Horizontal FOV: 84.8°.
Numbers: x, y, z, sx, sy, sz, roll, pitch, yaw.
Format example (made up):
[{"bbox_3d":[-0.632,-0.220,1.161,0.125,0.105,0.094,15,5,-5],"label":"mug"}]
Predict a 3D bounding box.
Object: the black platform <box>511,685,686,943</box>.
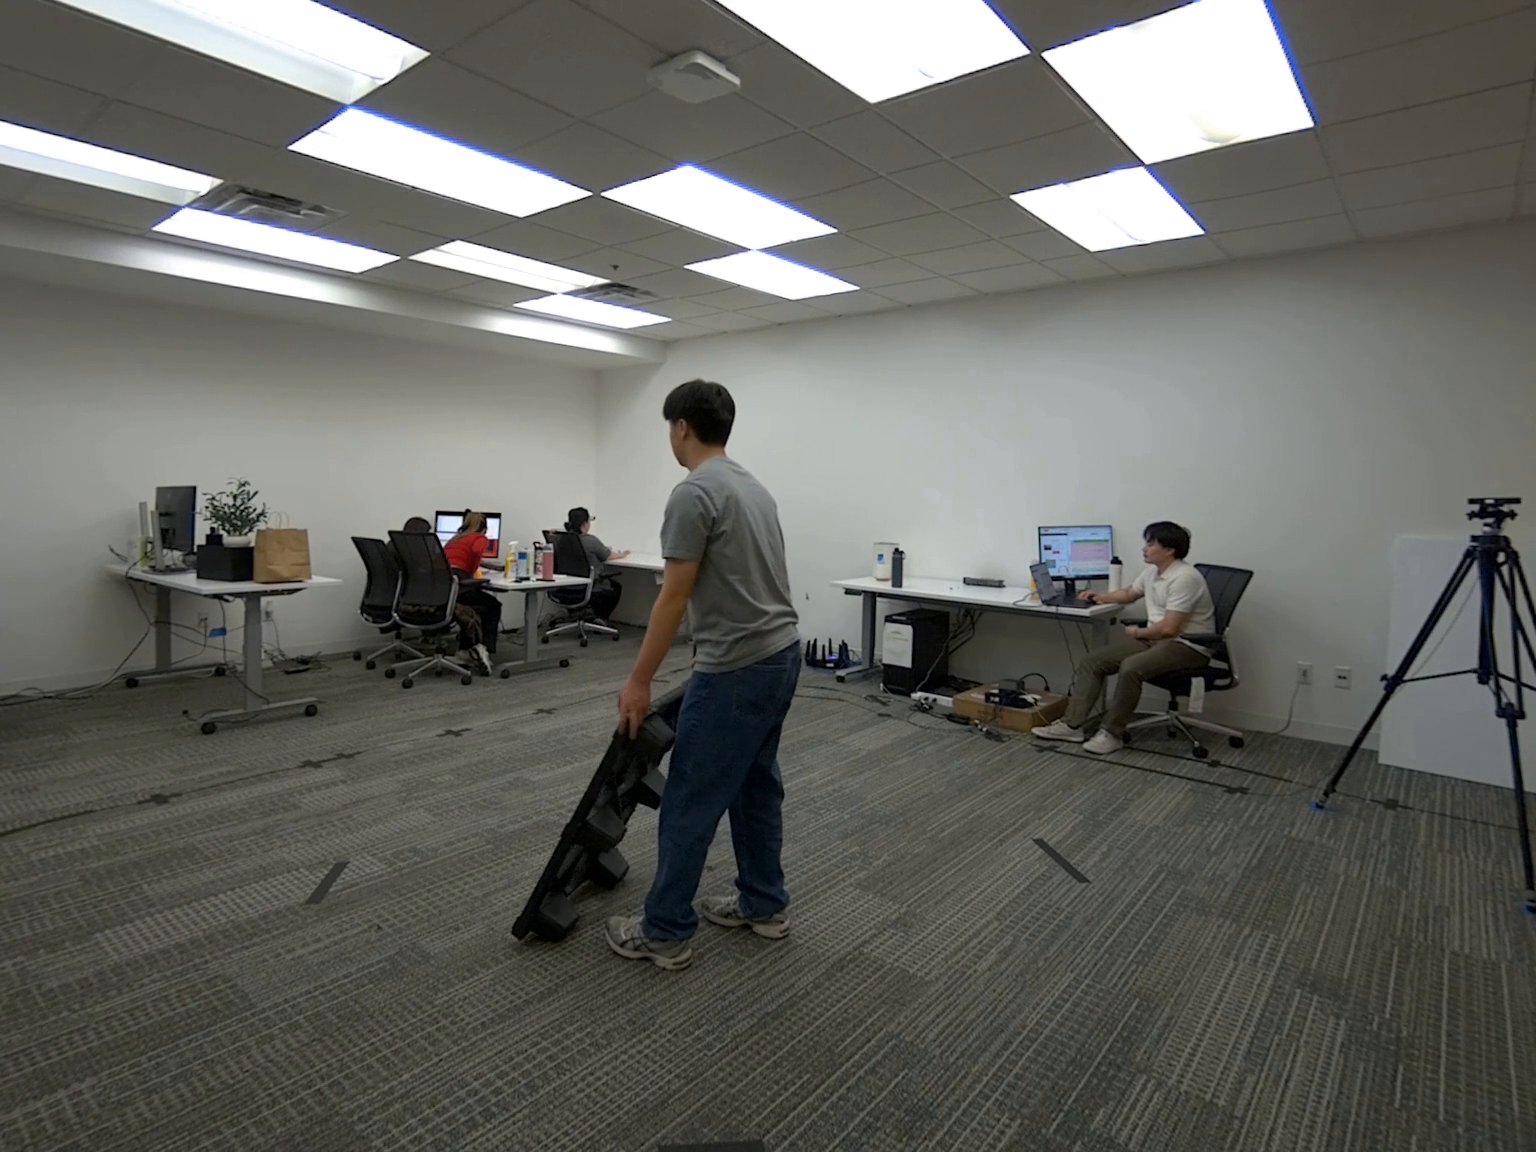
[{"bbox_3d":[-0.469,0.743,2.751,0.146,0.802,0.596,31,11,12],"label":"black platform"}]
